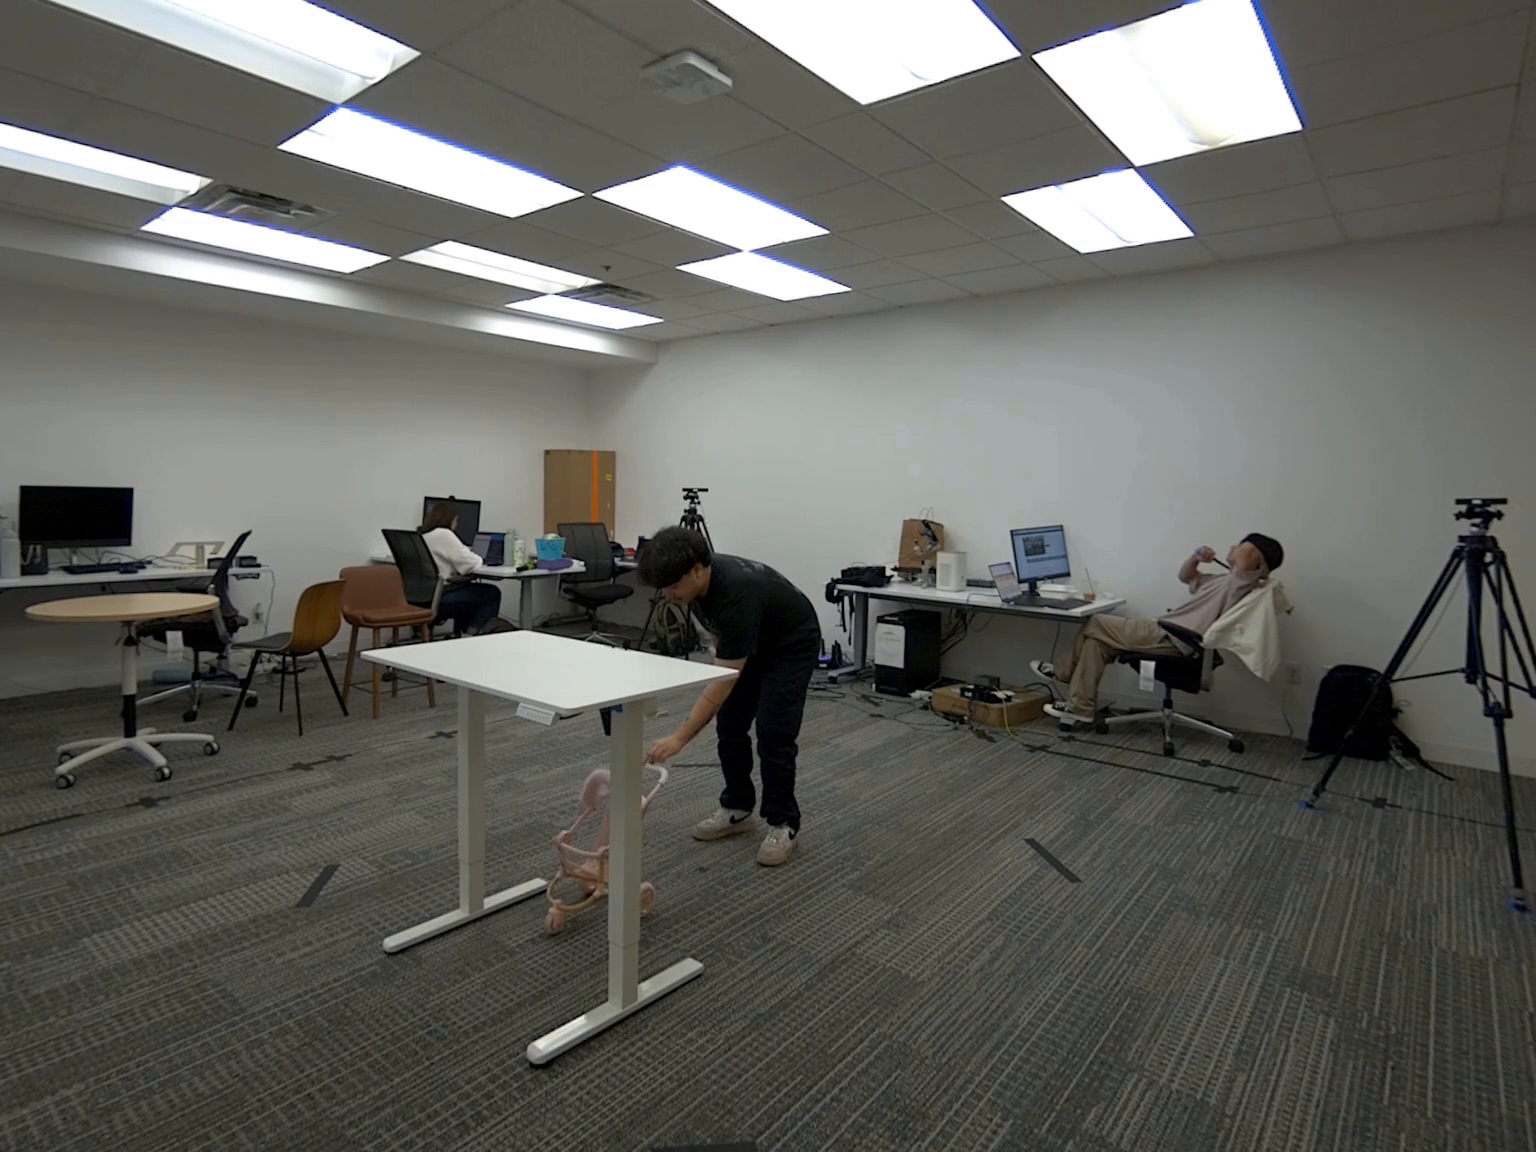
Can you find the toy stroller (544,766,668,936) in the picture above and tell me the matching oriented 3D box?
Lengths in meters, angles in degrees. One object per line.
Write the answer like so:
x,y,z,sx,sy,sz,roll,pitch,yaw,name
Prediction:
-0.551,0.869,2.778,0.291,0.538,0.328,4,-11,42,toy stroller
